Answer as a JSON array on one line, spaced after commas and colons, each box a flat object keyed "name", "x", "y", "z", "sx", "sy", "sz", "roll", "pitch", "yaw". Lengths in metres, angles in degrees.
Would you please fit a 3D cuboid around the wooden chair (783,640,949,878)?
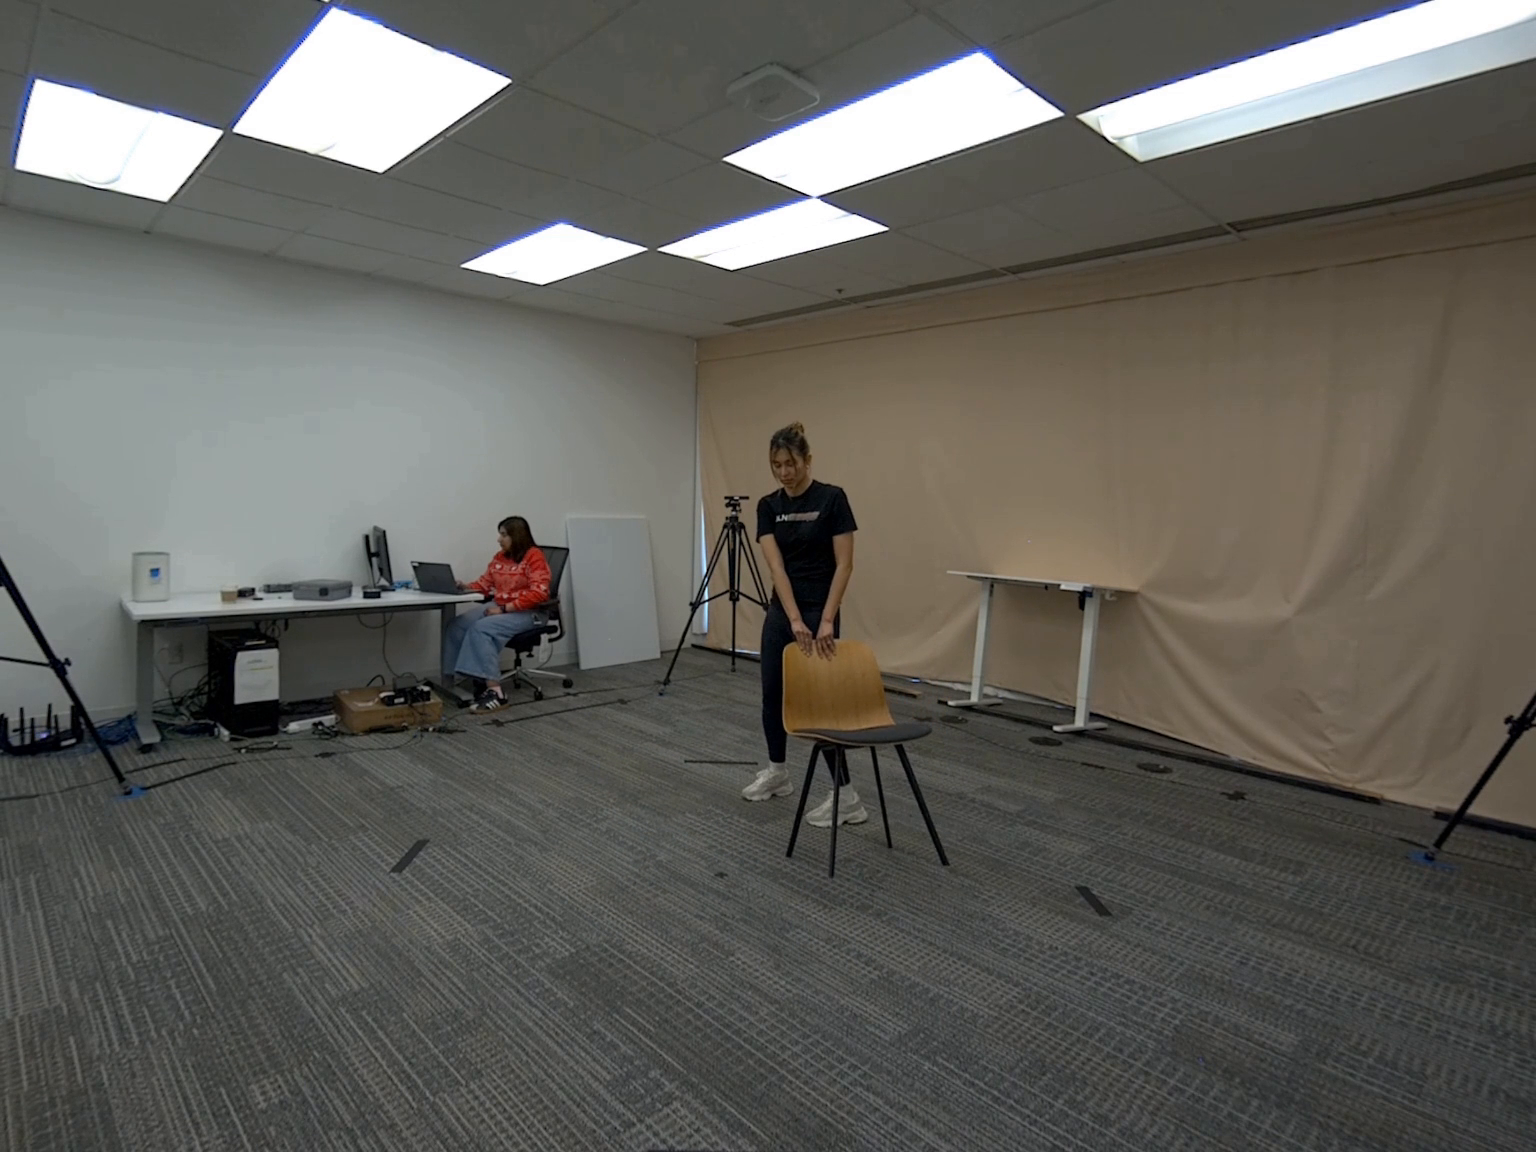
[{"name": "wooden chair", "x": 0.326, "y": 0.638, "z": 3.180, "sx": 0.472, "sy": 0.887, "sz": 0.524, "roll": 1, "pitch": -15, "yaw": -17}]
